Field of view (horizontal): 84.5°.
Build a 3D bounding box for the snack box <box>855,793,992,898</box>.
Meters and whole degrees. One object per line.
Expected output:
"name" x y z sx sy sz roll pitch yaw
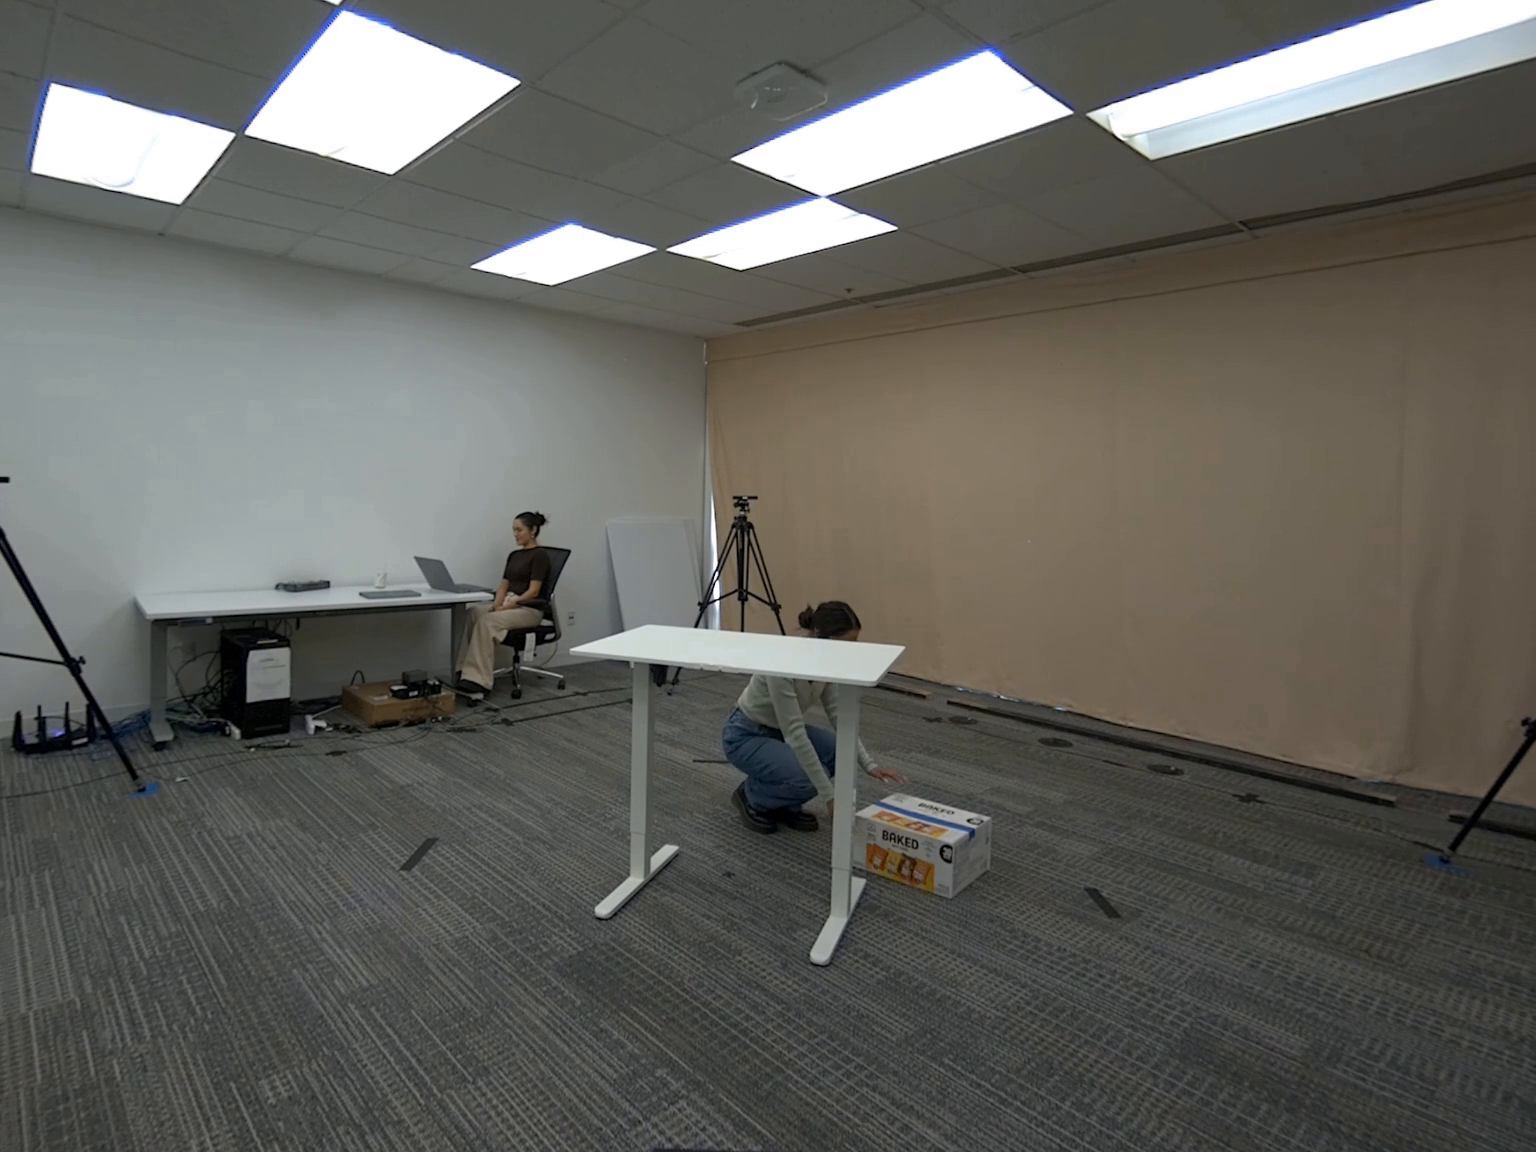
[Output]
"snack box" 0.577 1.012 3.197 0.415 0.205 0.333 5 6 38
